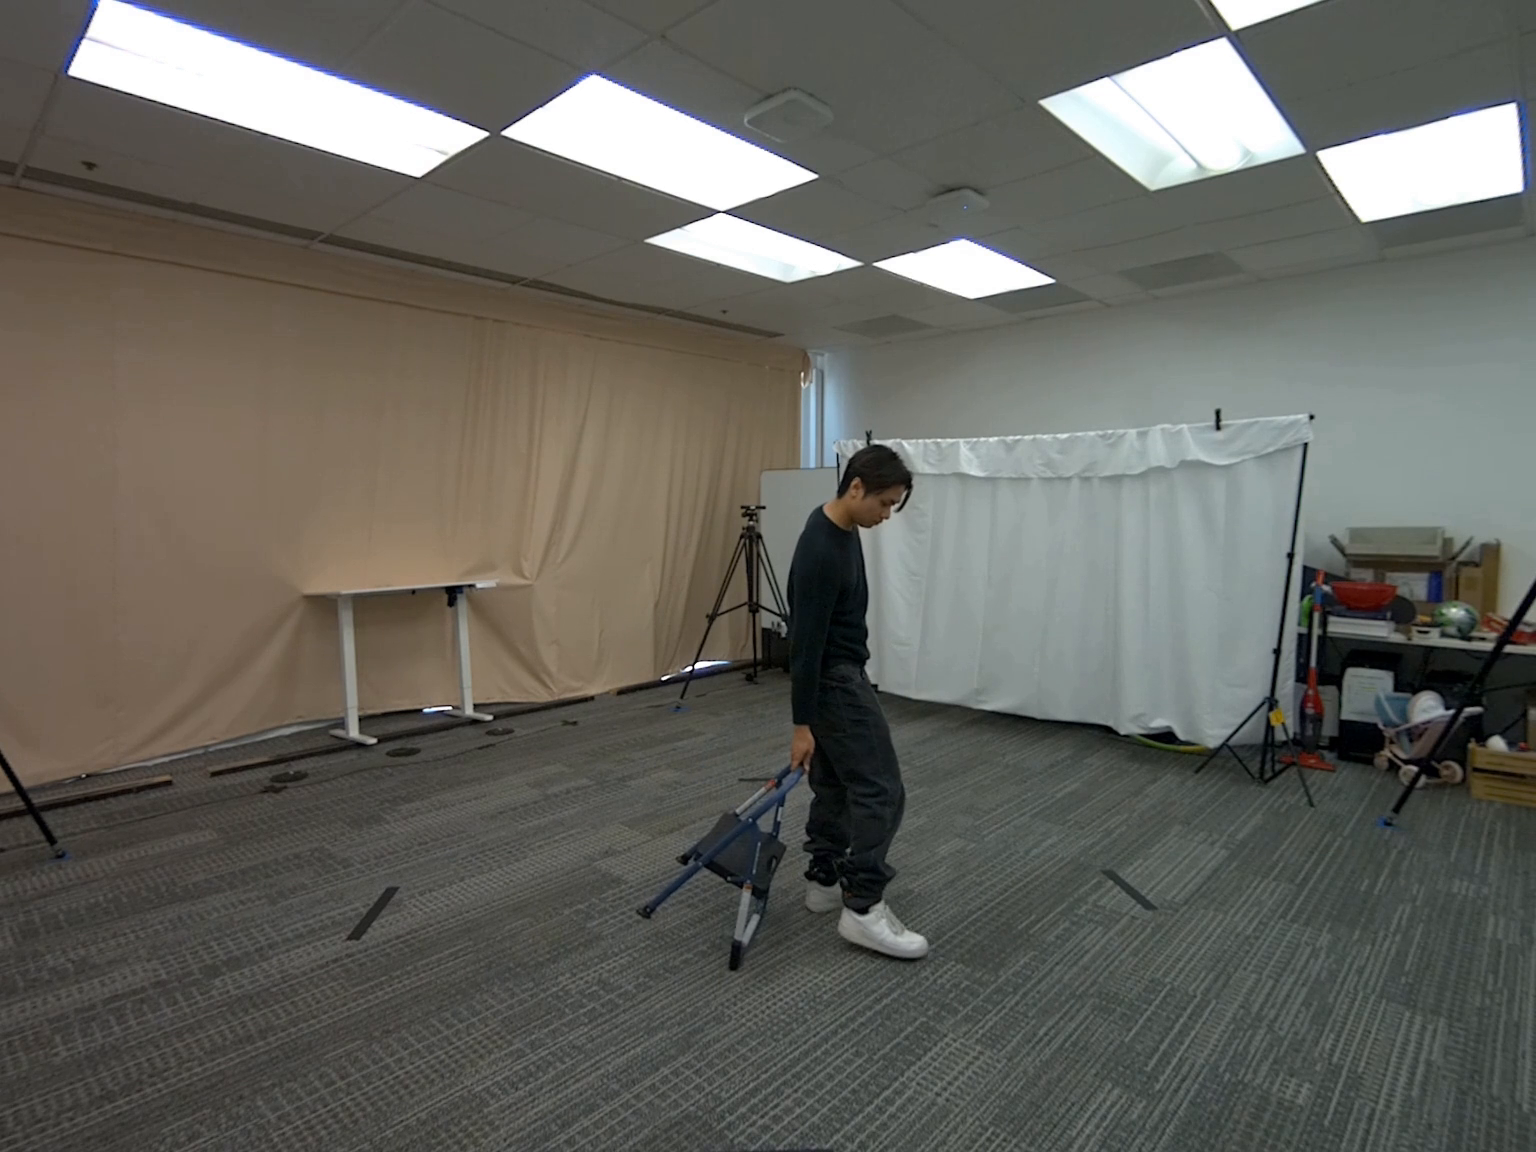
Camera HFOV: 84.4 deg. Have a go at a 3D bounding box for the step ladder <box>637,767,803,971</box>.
[{"bbox_3d":[-0.076,0.833,2.696,0.354,0.605,0.425,27,9,10],"label":"step ladder"}]
